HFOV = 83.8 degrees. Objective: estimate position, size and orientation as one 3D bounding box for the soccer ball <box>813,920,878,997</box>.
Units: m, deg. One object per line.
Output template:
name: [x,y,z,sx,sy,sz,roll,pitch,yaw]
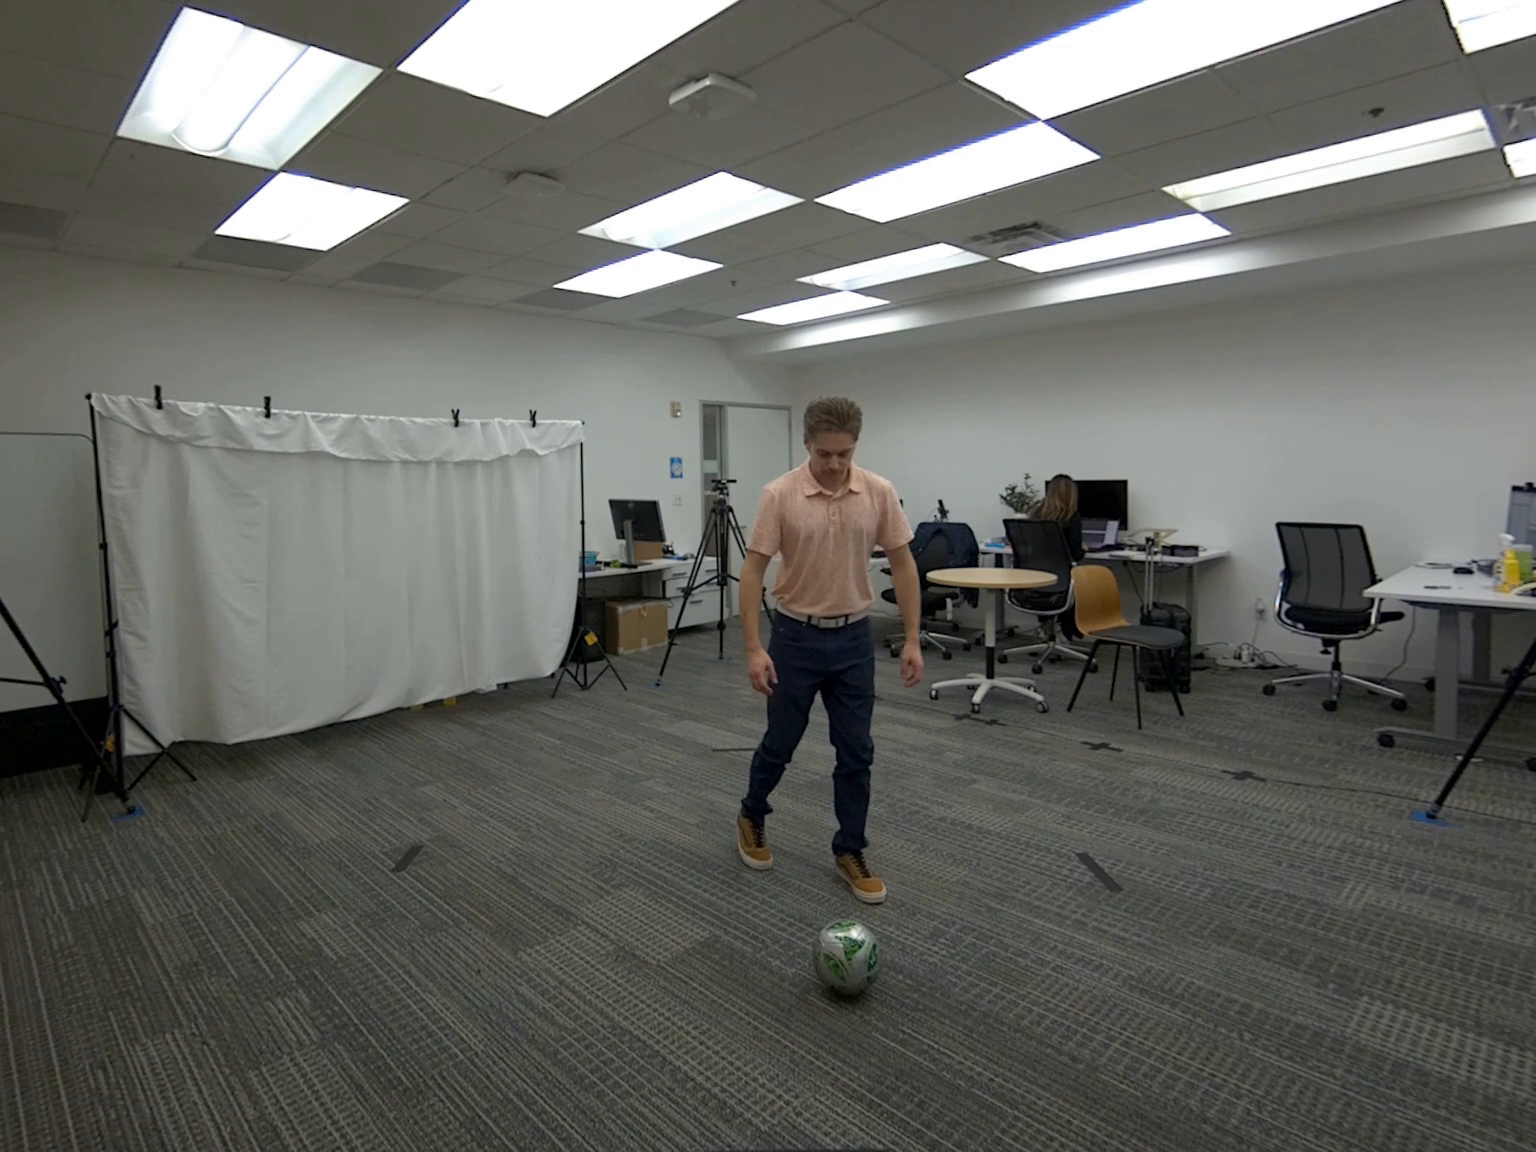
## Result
soccer ball: [0.222,1.042,2.327,0.187,0.187,0.188,-1,5,-2]
